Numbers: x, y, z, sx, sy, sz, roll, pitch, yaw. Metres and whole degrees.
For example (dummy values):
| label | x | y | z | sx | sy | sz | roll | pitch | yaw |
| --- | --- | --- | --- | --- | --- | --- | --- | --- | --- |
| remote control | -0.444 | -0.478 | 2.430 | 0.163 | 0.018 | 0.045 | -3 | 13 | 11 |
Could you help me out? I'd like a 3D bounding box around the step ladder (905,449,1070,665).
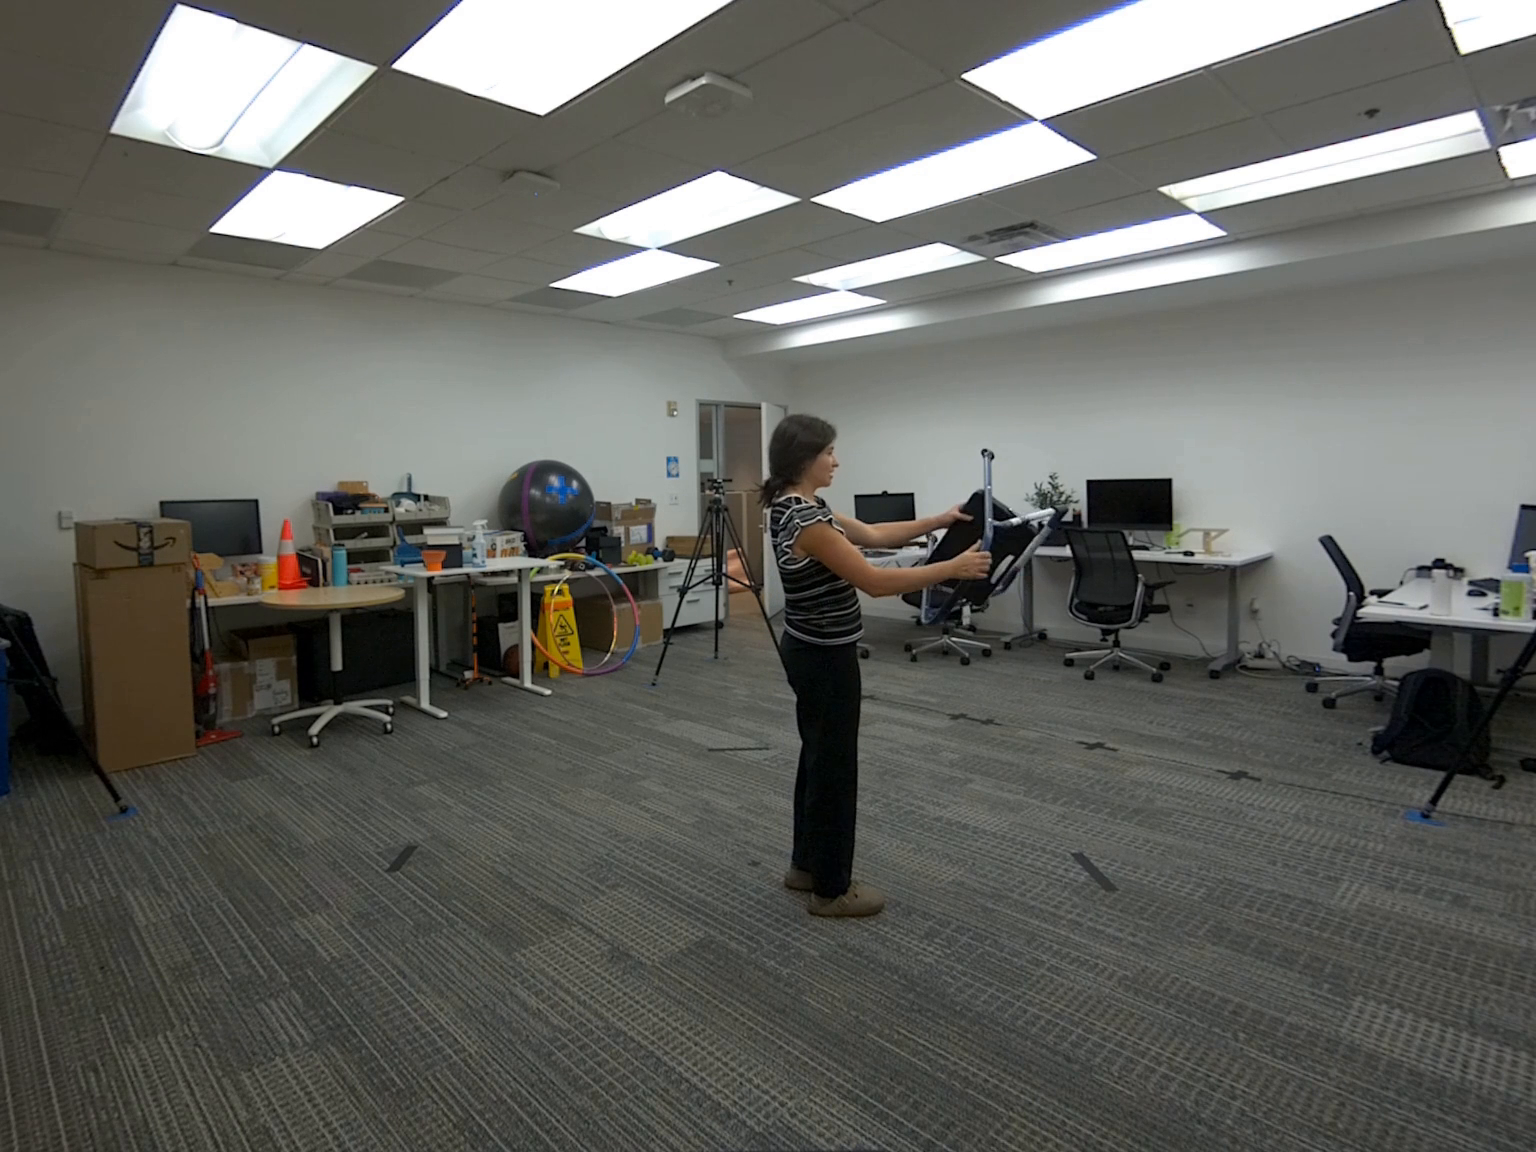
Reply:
| label | x | y | z | sx | sy | sz | roll | pitch | yaw |
| --- | --- | --- | --- | --- | --- | --- | --- | --- | --- |
| step ladder | 0.655 | -0.081 | 2.834 | 0.357 | 0.426 | 0.600 | 38 | 37 | 15 |
